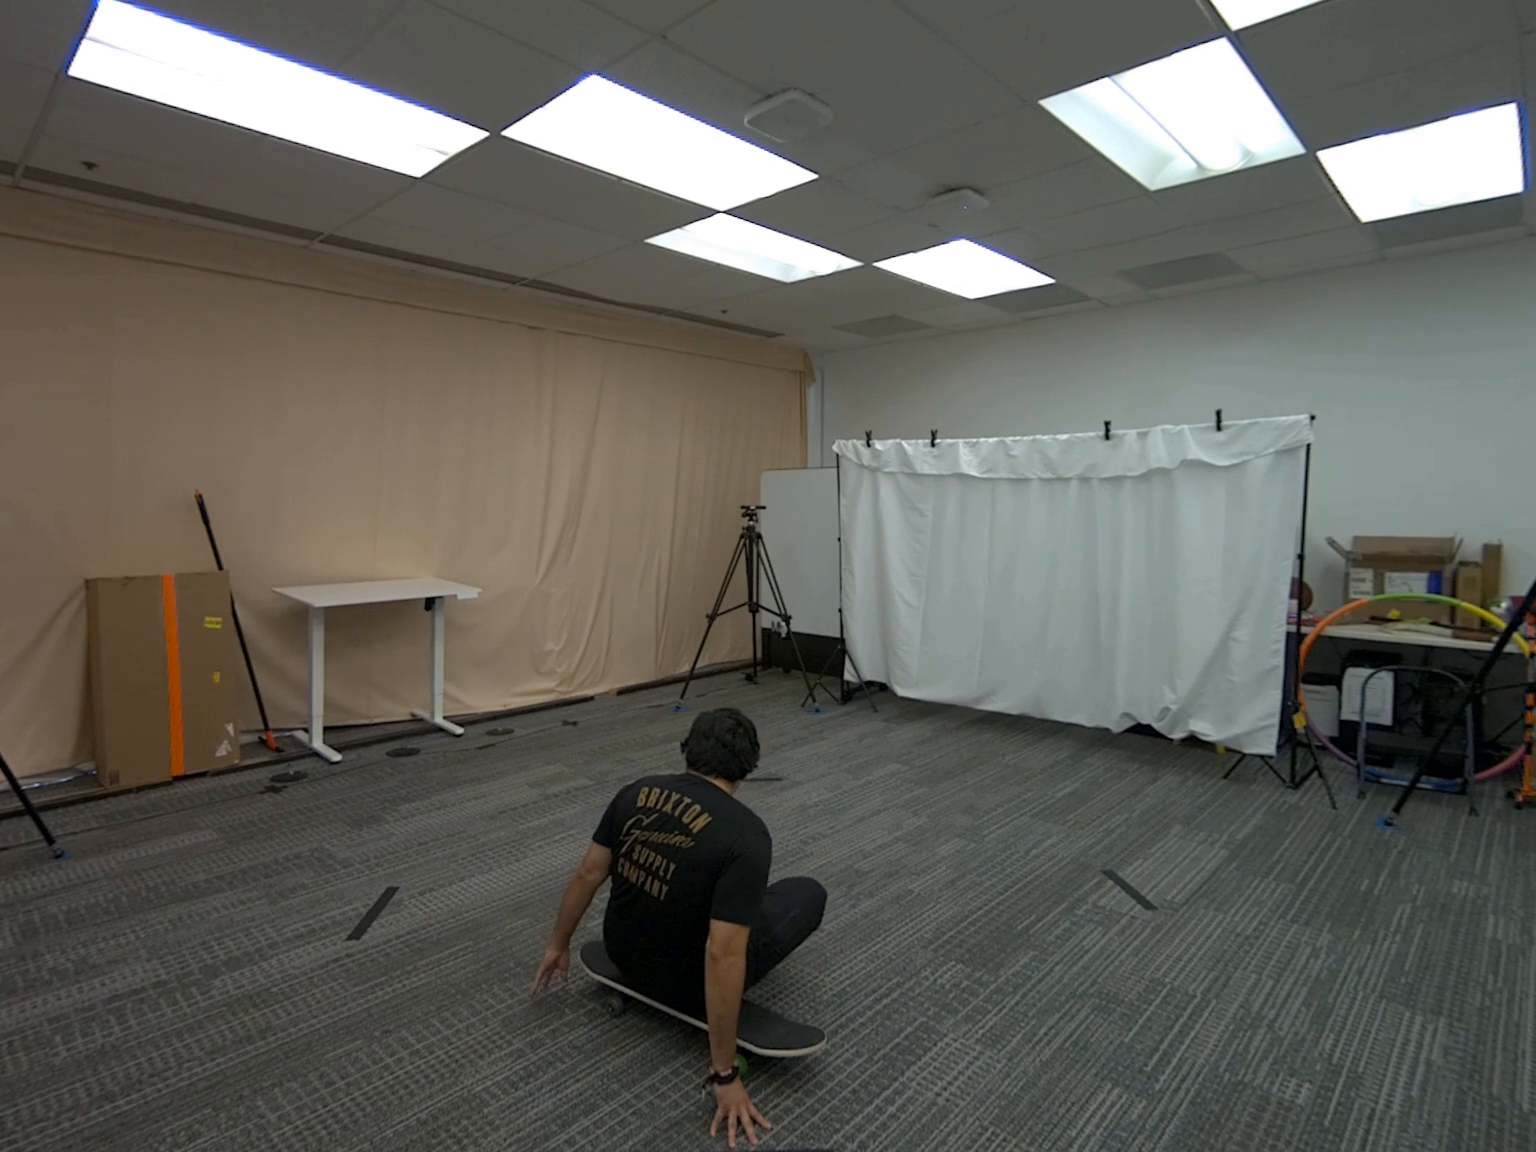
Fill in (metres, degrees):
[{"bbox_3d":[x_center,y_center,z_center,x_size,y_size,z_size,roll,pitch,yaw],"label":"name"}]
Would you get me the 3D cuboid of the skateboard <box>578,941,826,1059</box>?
[{"bbox_3d":[-0.201,1.150,2.244,0.811,0.110,0.187,3,-4,36],"label":"skateboard"}]
